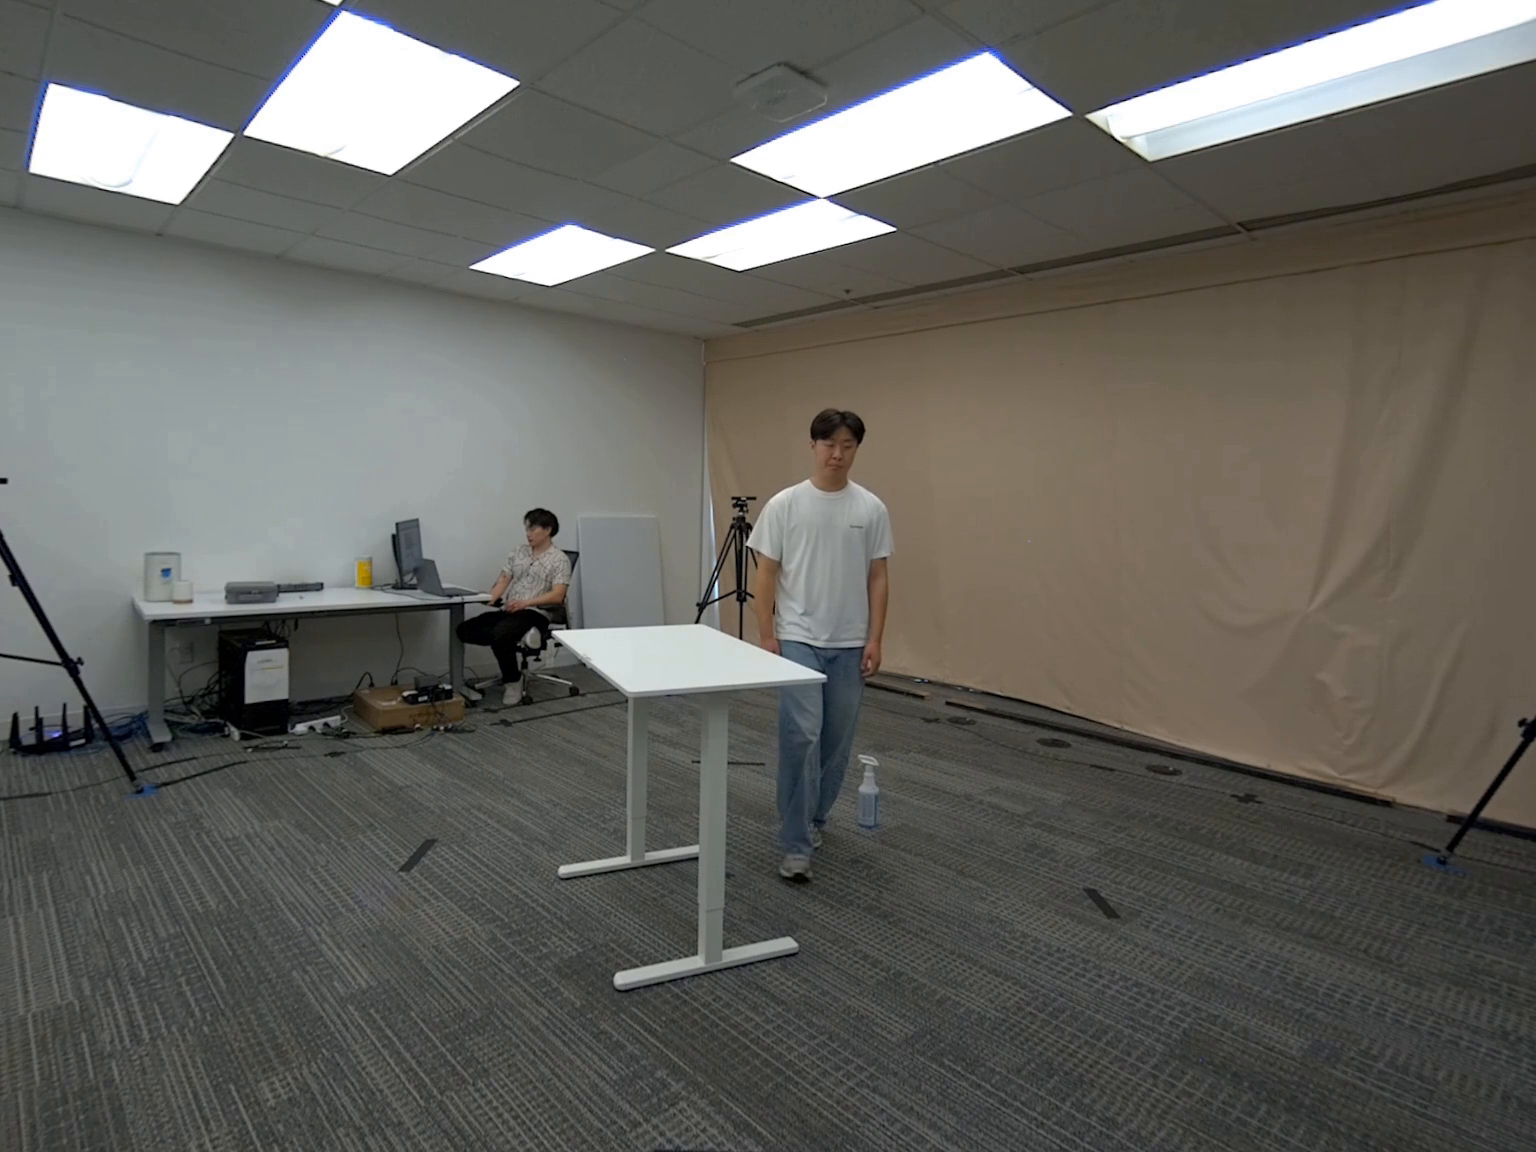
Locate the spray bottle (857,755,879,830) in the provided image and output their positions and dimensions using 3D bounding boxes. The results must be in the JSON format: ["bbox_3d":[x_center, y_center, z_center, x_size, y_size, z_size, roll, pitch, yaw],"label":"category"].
[{"bbox_3d":[0.428,0.931,3.636,0.085,0.297,0.092,0,2,-38],"label":"spray bottle"}]
